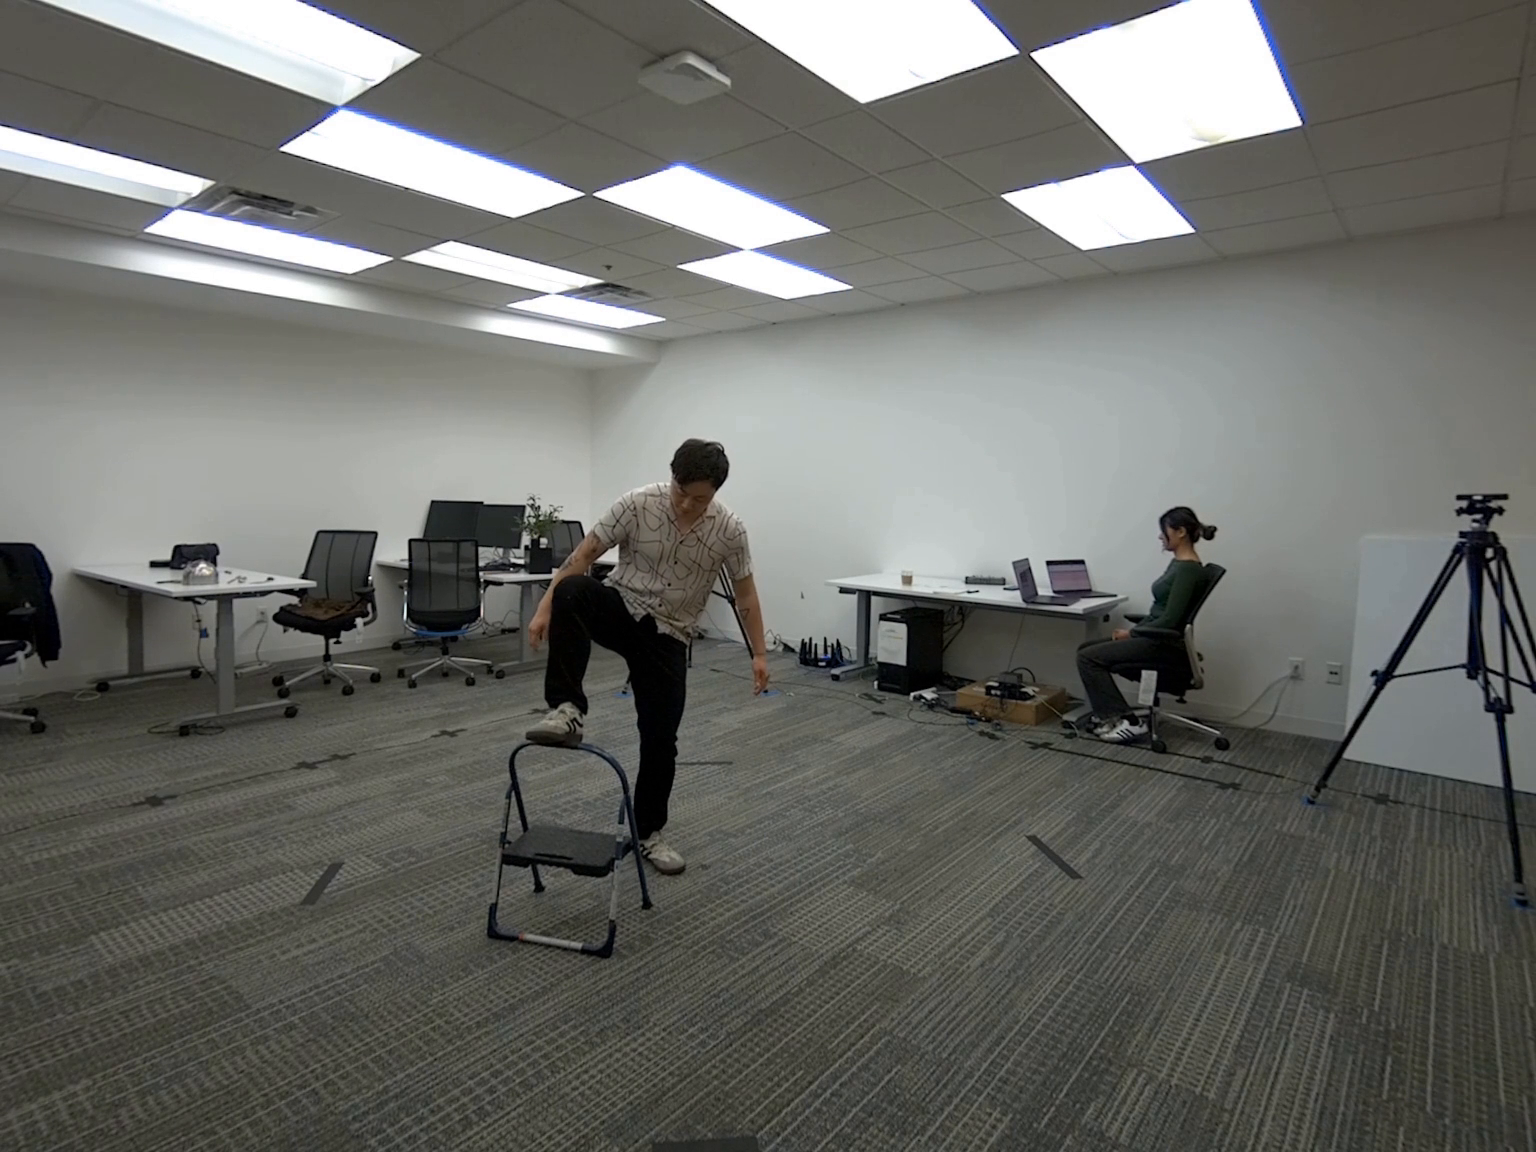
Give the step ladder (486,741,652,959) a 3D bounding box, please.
[{"bbox_3d":[-0.637,0.799,2.697,0.437,0.604,0.345,1,3,14],"label":"step ladder"}]
